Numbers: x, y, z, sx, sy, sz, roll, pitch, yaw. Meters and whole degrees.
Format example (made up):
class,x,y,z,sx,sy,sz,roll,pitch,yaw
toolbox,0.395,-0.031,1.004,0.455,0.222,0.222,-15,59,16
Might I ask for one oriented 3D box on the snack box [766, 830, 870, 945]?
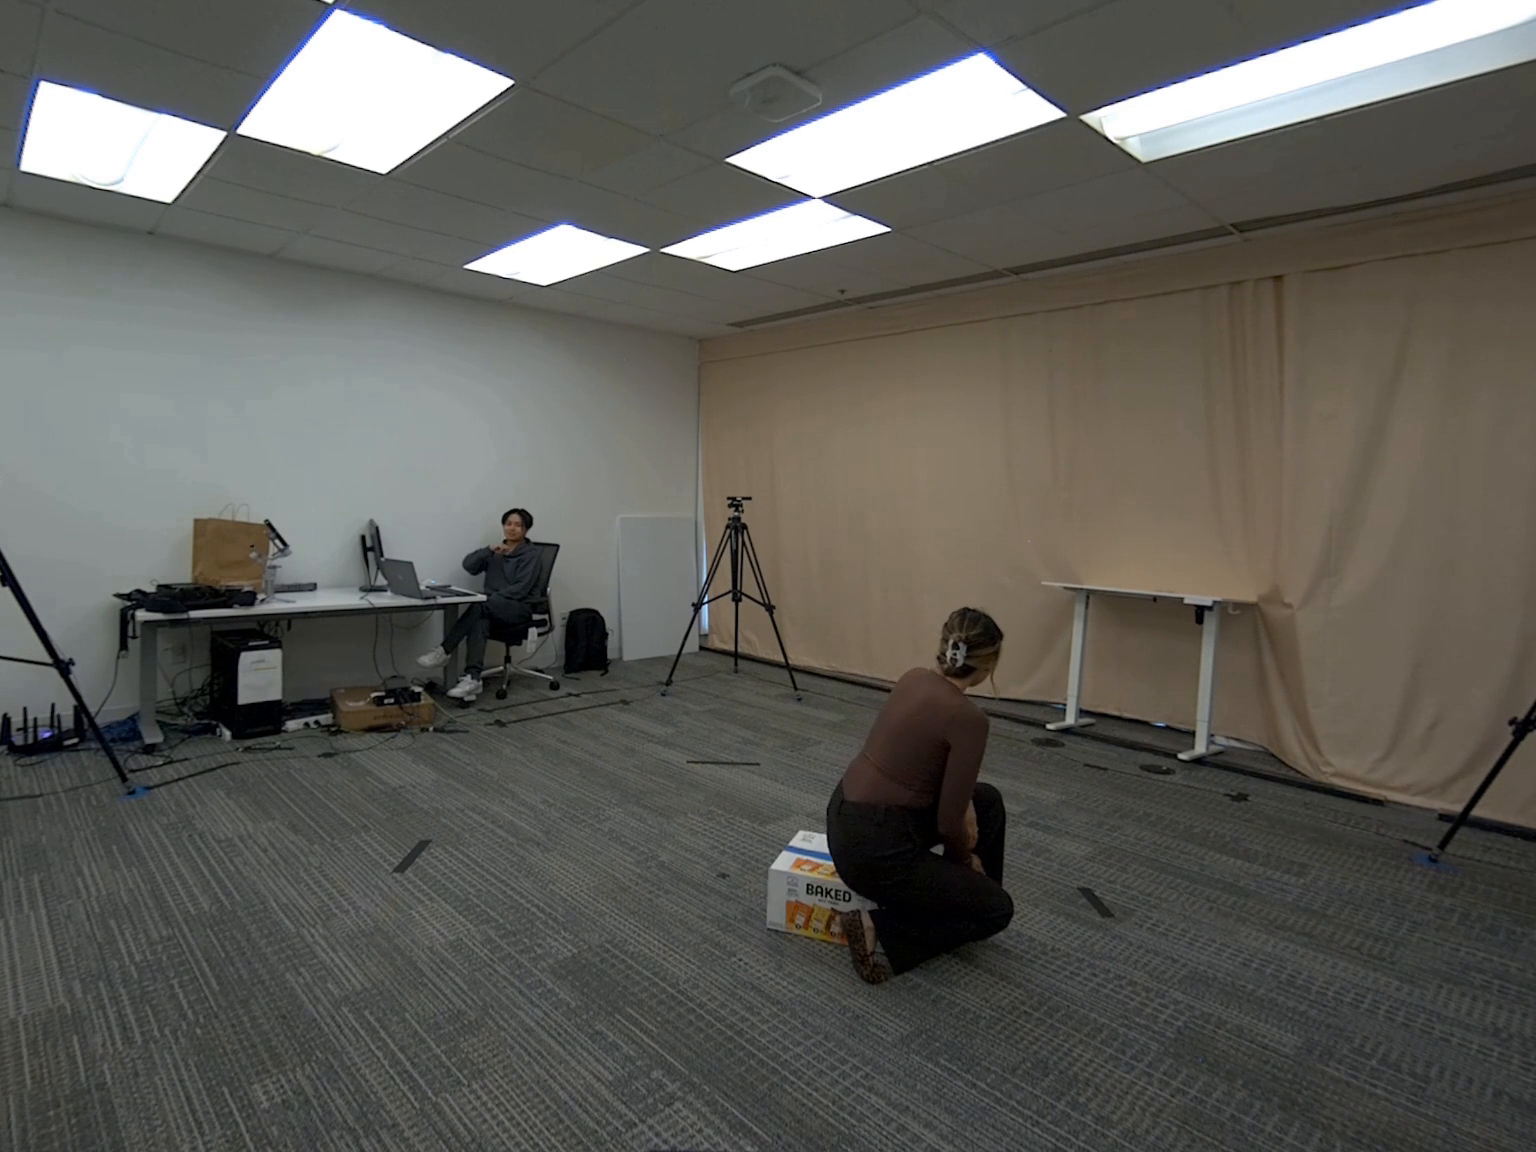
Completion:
class,x,y,z,sx,sy,sz,roll,pitch,yaw
snack box,0.241,1.041,2.802,0.412,0.205,0.336,3,6,20
